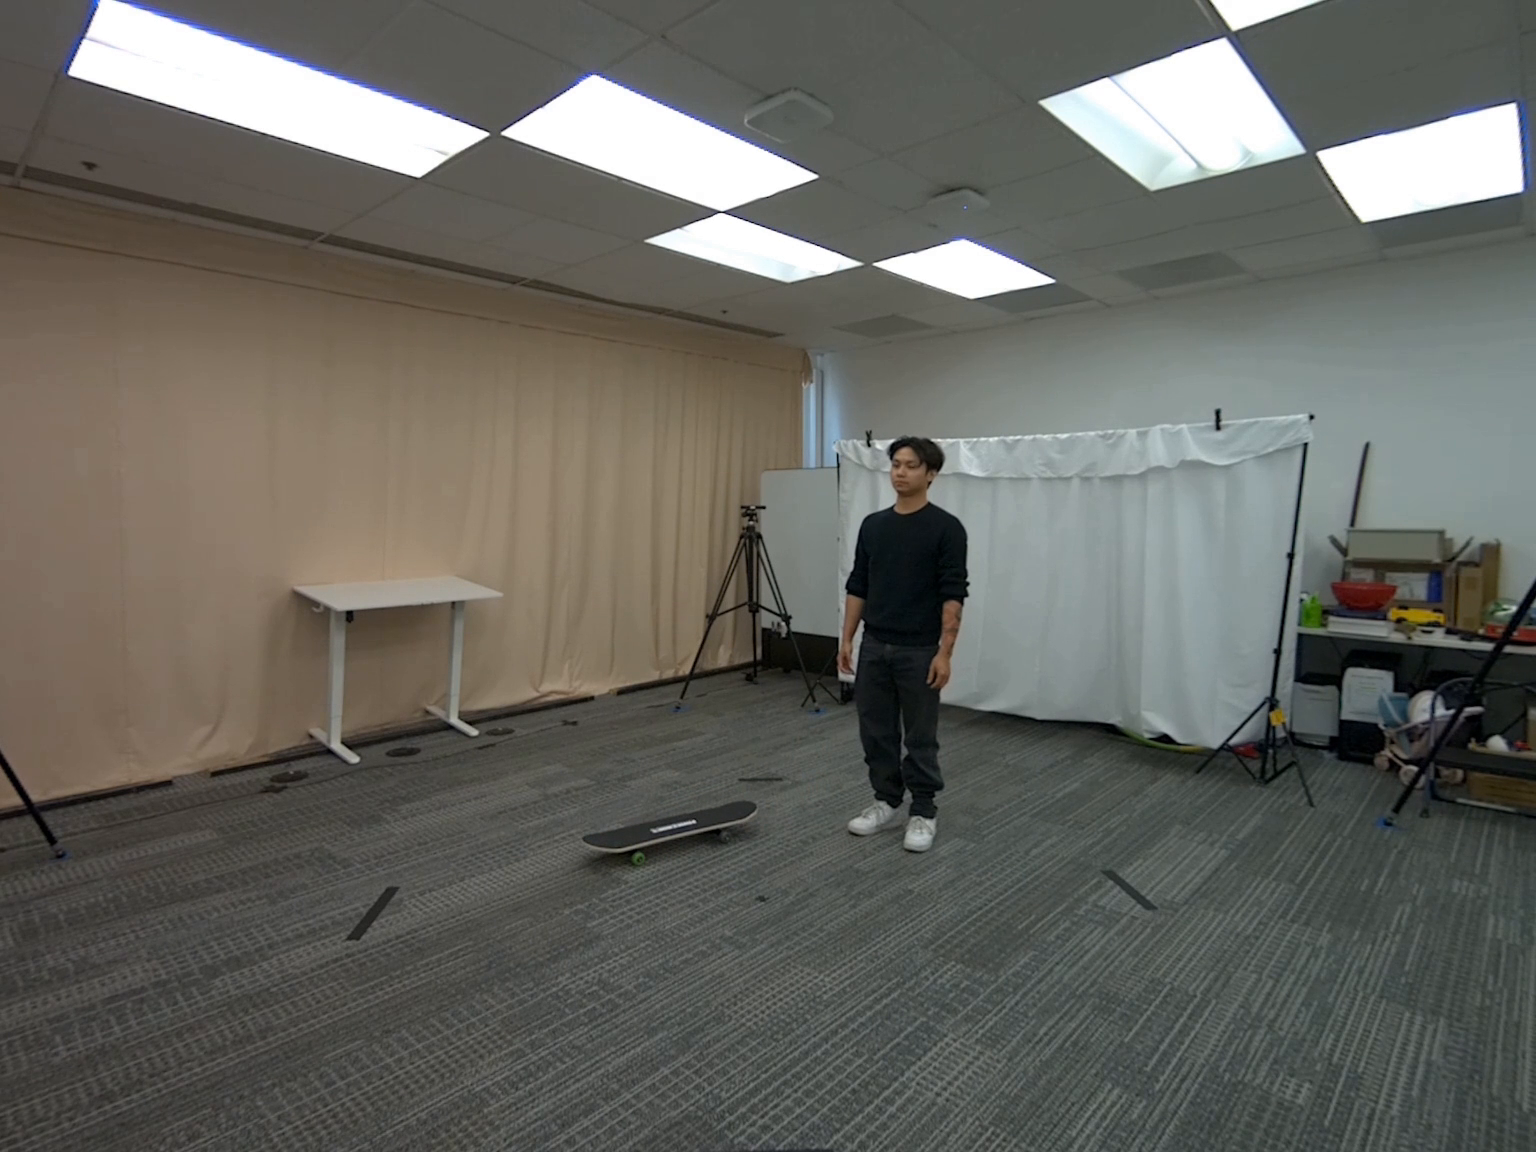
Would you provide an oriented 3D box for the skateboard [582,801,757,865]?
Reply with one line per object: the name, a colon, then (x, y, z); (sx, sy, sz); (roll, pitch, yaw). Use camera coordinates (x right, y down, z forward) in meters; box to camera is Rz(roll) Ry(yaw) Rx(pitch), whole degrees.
skateboard: (-0.391, 1.052, 3.442); (0.764, 0.110, 0.199); (-4, 4, -32)
